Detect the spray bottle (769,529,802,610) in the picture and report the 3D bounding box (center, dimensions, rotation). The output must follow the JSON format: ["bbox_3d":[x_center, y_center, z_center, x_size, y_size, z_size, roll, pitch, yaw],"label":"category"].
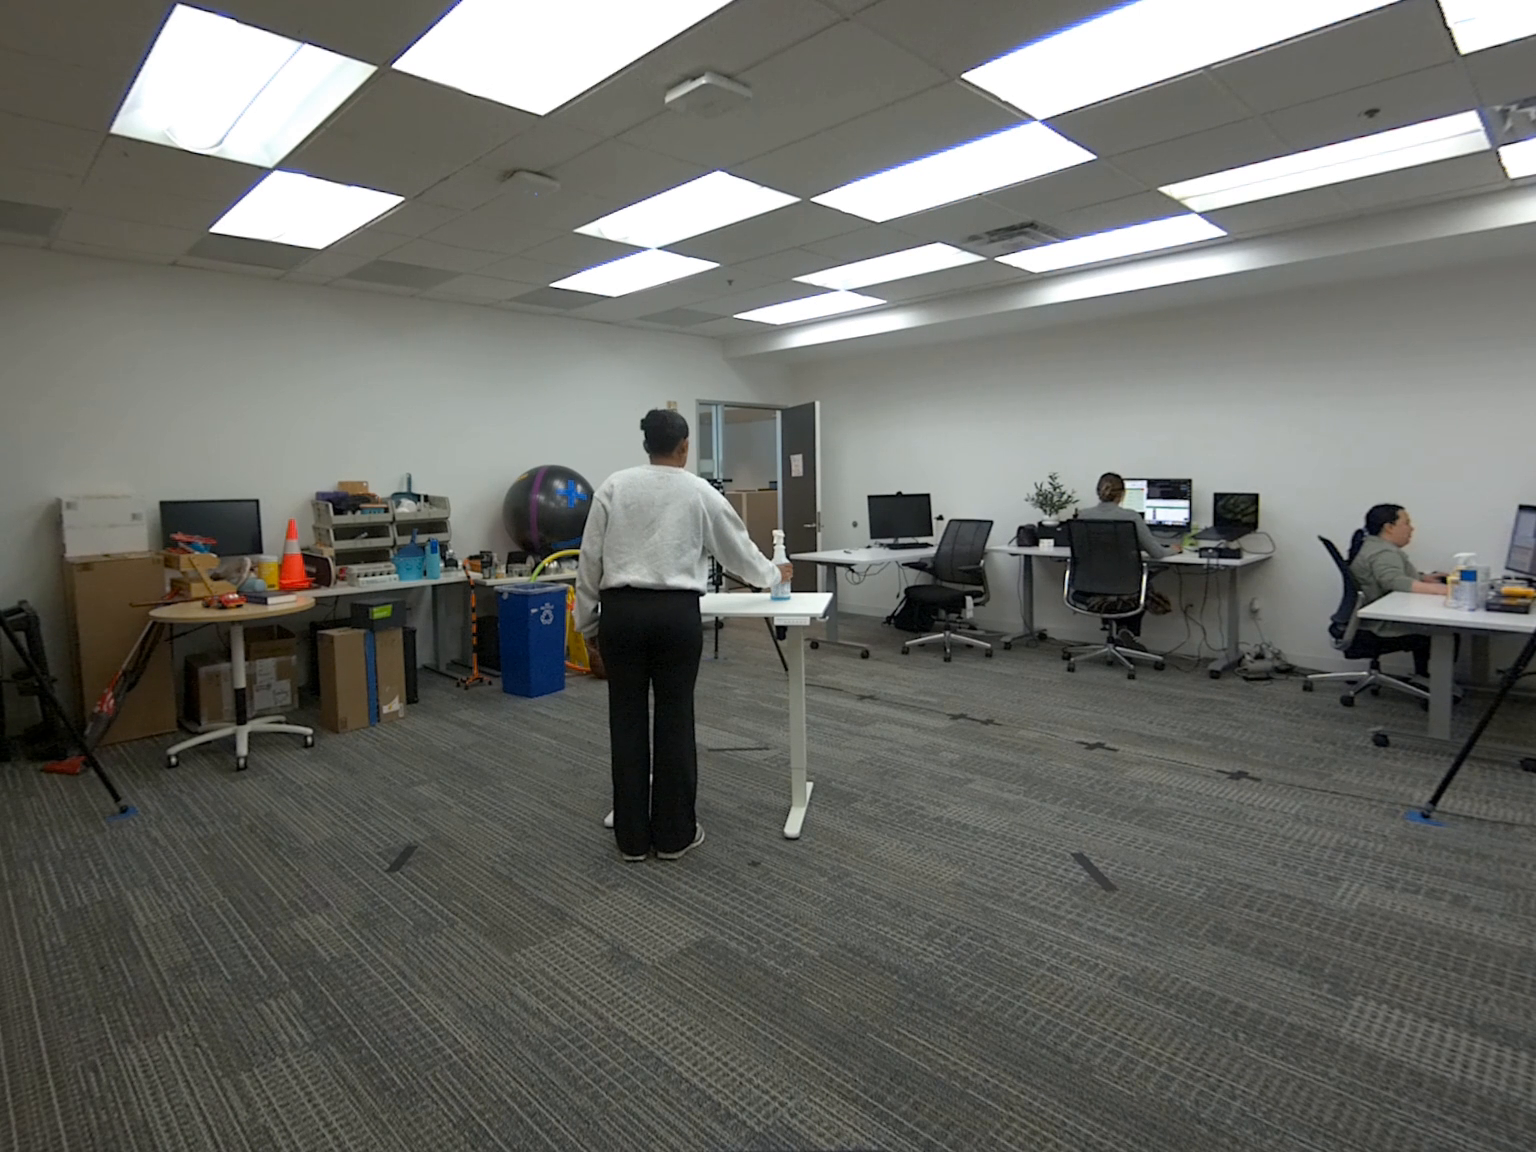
[{"bbox_3d":[0.045,-0.048,3.639,0.088,0.296,0.089,-5,4,-40],"label":"spray bottle"}]
